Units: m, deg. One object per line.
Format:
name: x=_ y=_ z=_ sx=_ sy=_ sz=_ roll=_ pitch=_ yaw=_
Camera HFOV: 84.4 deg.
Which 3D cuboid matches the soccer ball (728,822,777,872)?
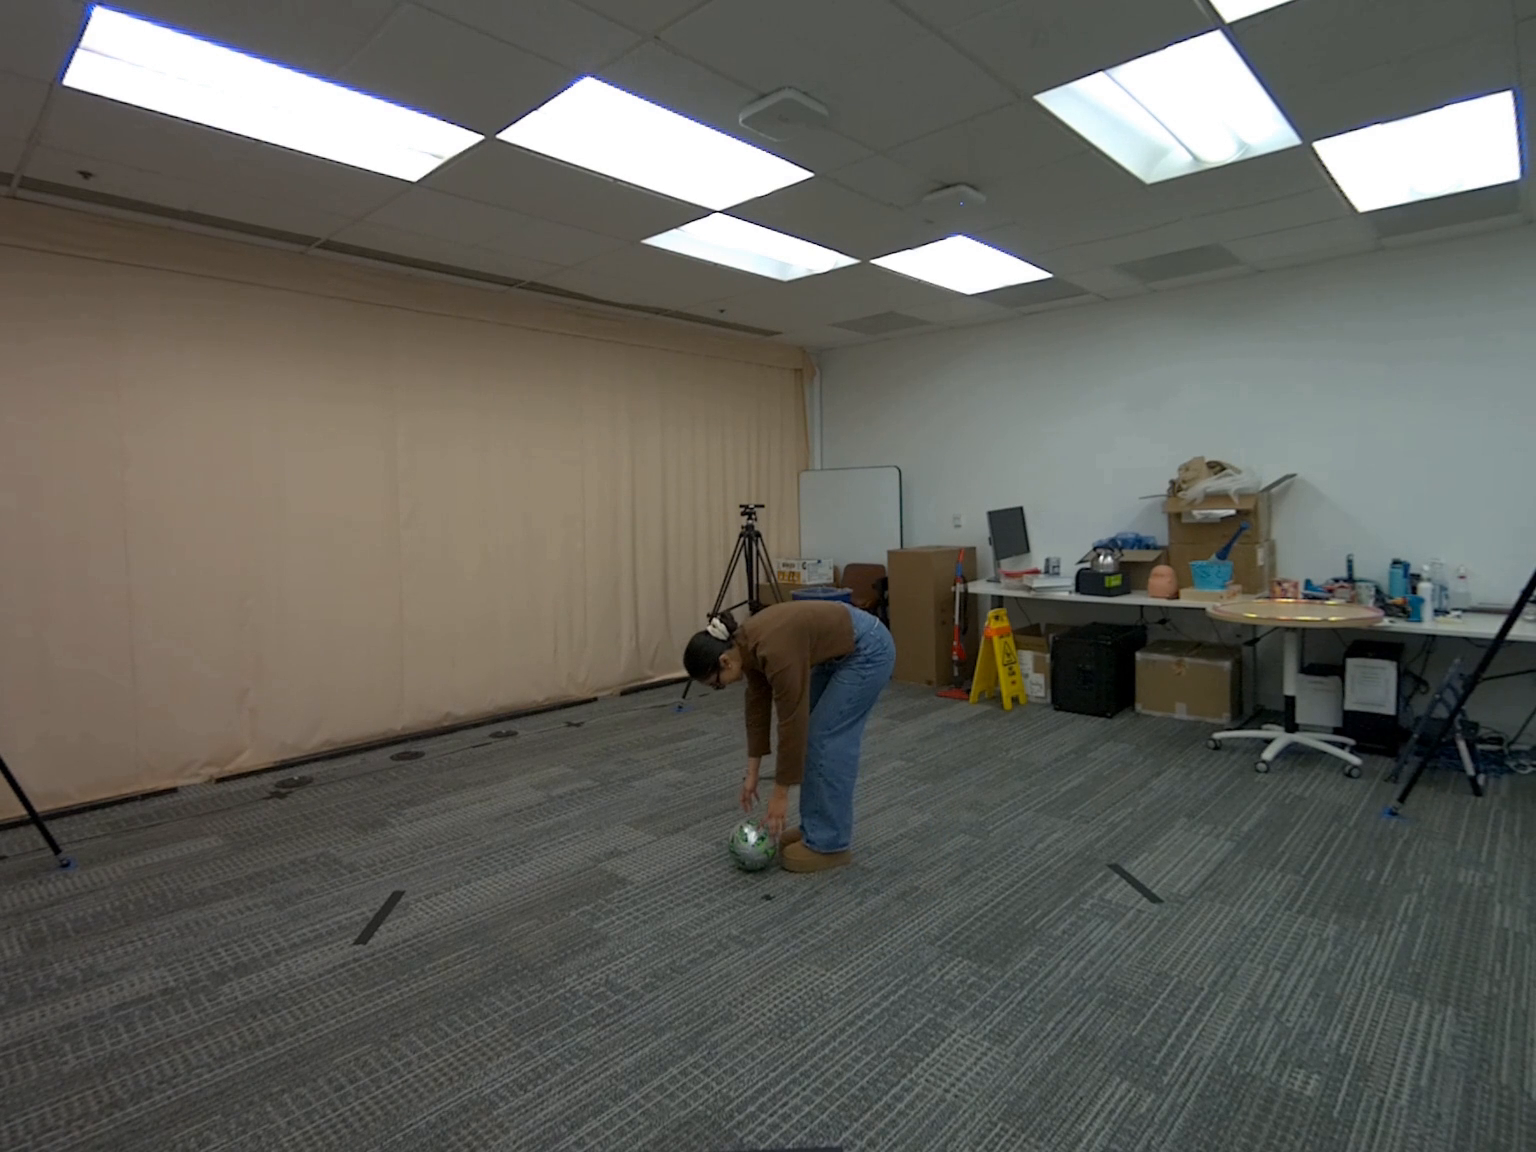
soccer ball: x=-0.057 y=1.027 z=3.224 sx=0.187 sy=0.187 sz=0.188 roll=-1 pitch=4 yaw=-2
